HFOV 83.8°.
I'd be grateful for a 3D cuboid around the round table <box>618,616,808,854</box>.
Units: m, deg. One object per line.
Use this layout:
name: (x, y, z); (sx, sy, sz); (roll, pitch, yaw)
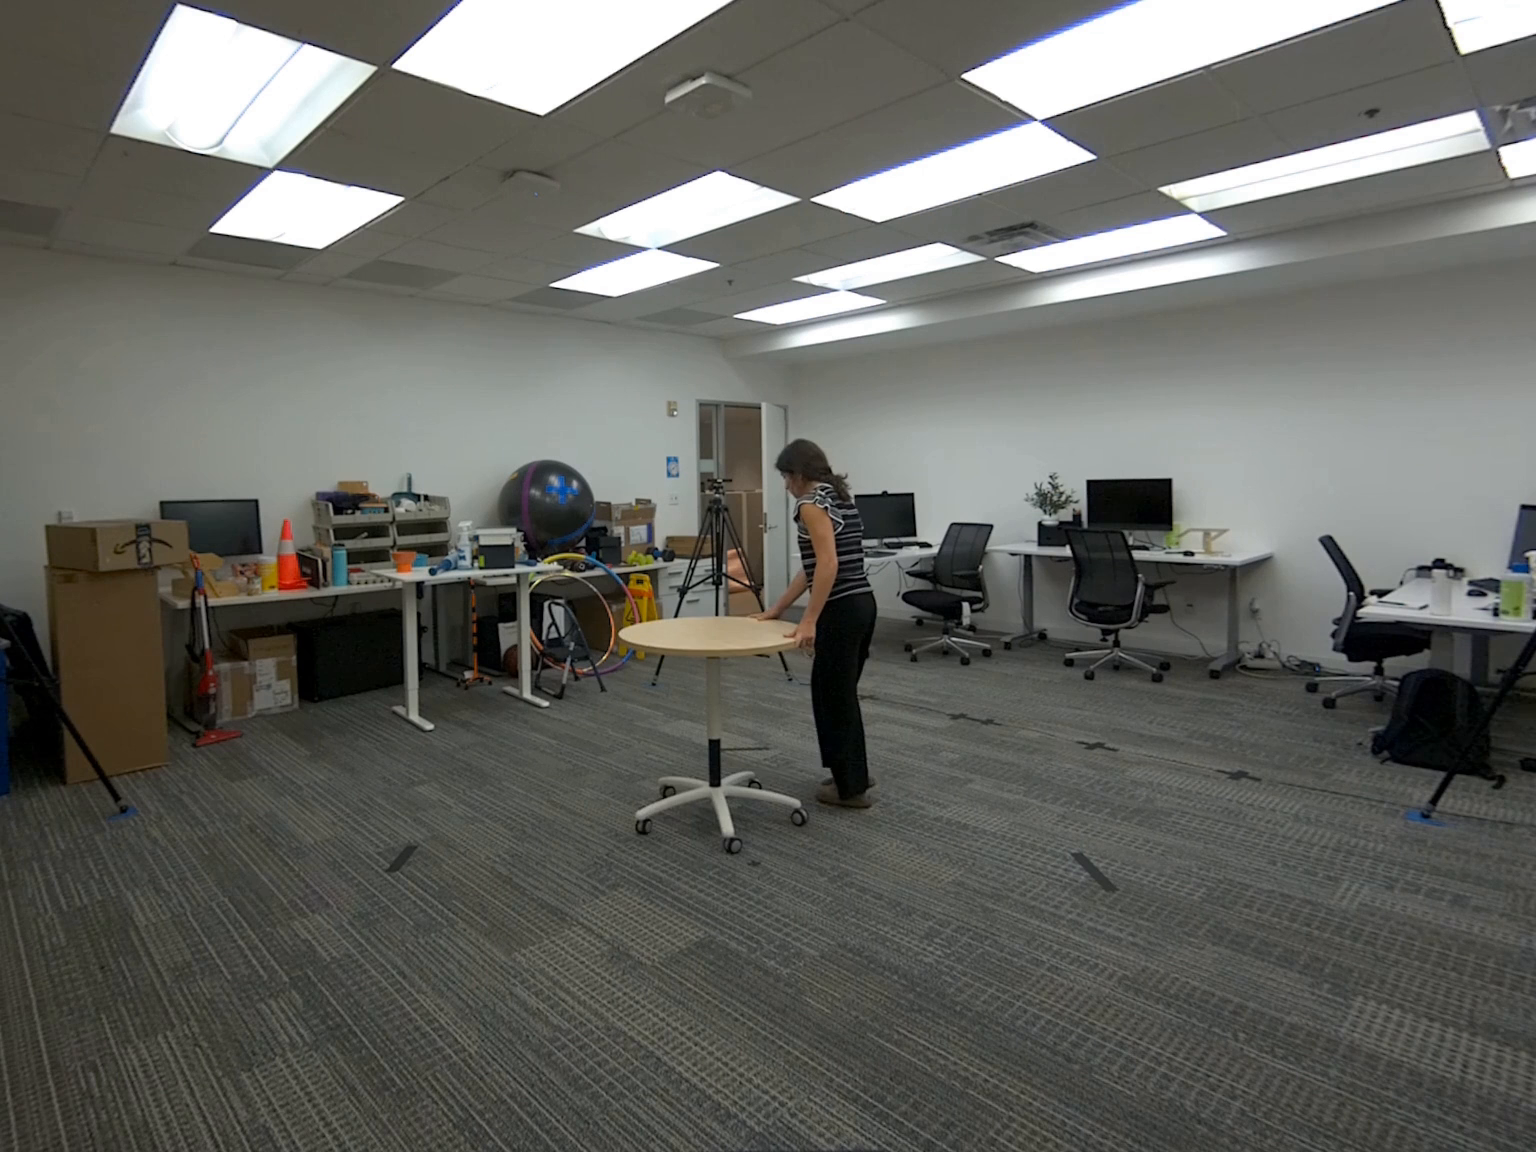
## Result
round table: (-0.219, 0.615, 3.491); (0.763, 0.791, 0.767); (-1, 4, -2)
